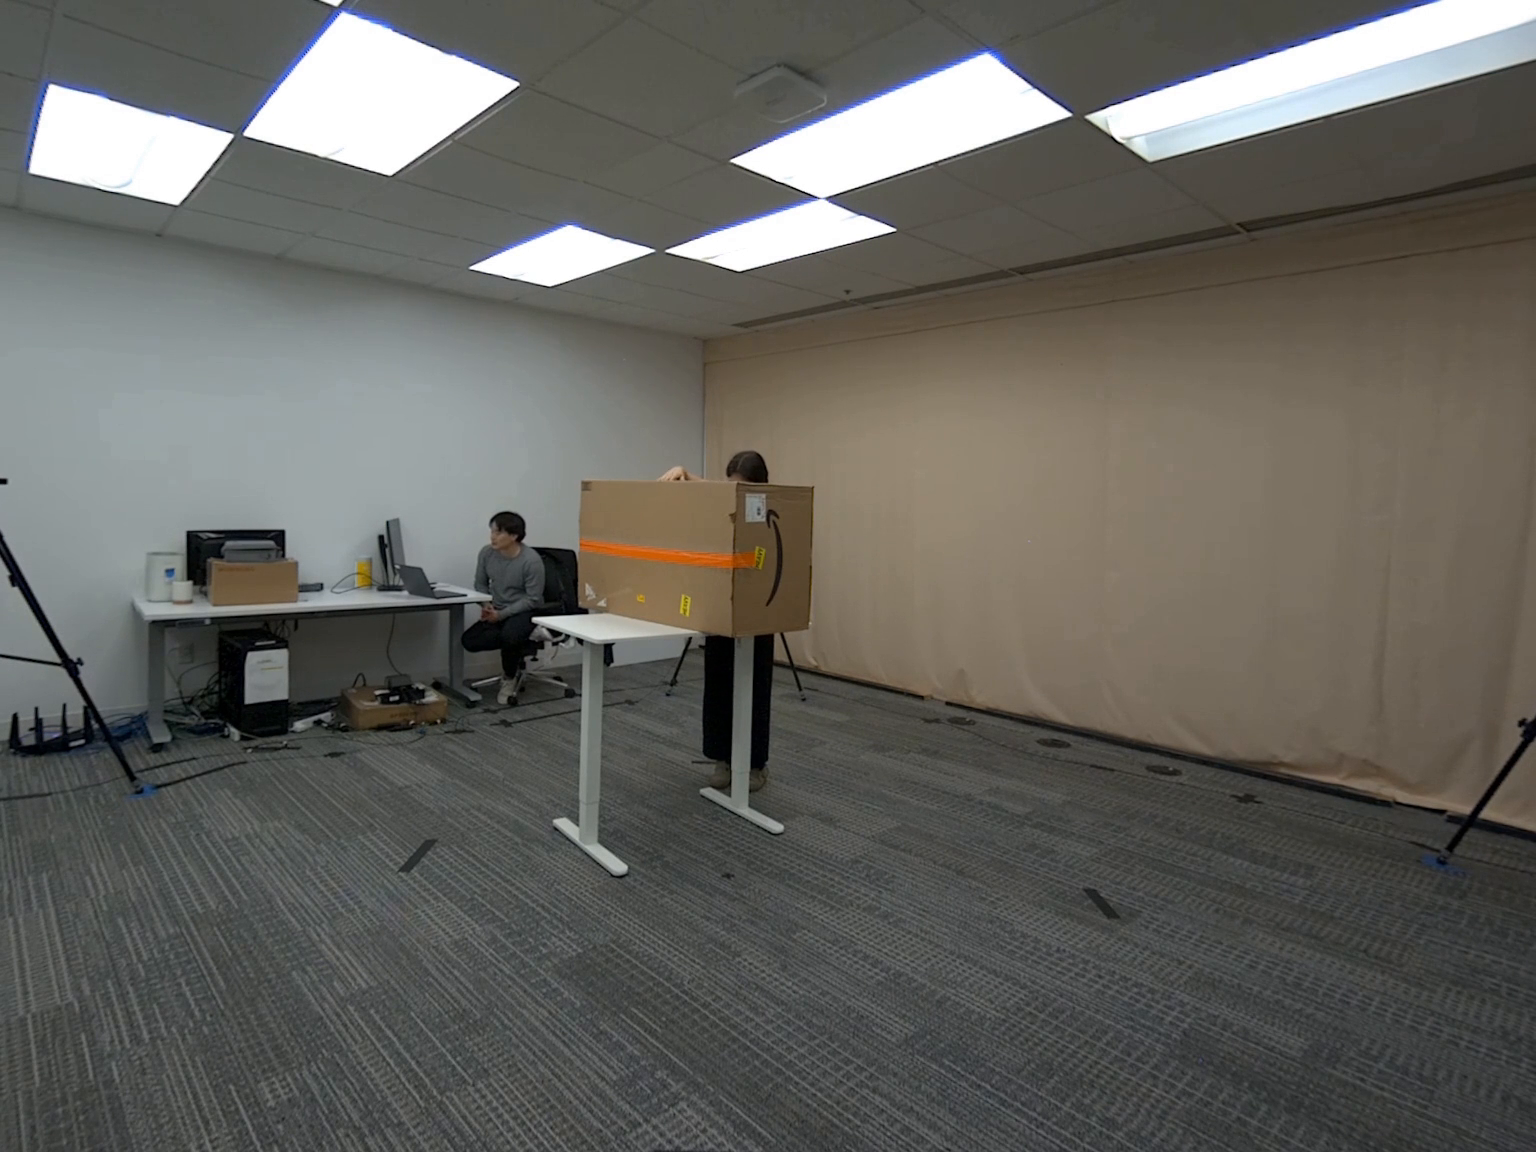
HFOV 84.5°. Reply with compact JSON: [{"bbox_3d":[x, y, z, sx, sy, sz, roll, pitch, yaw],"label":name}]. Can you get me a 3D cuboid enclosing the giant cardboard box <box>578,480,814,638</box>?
[{"bbox_3d":[-0.346,-0.109,3.562,0.416,0.576,1.052,-1,6,-45],"label":"giant cardboard box"}]
